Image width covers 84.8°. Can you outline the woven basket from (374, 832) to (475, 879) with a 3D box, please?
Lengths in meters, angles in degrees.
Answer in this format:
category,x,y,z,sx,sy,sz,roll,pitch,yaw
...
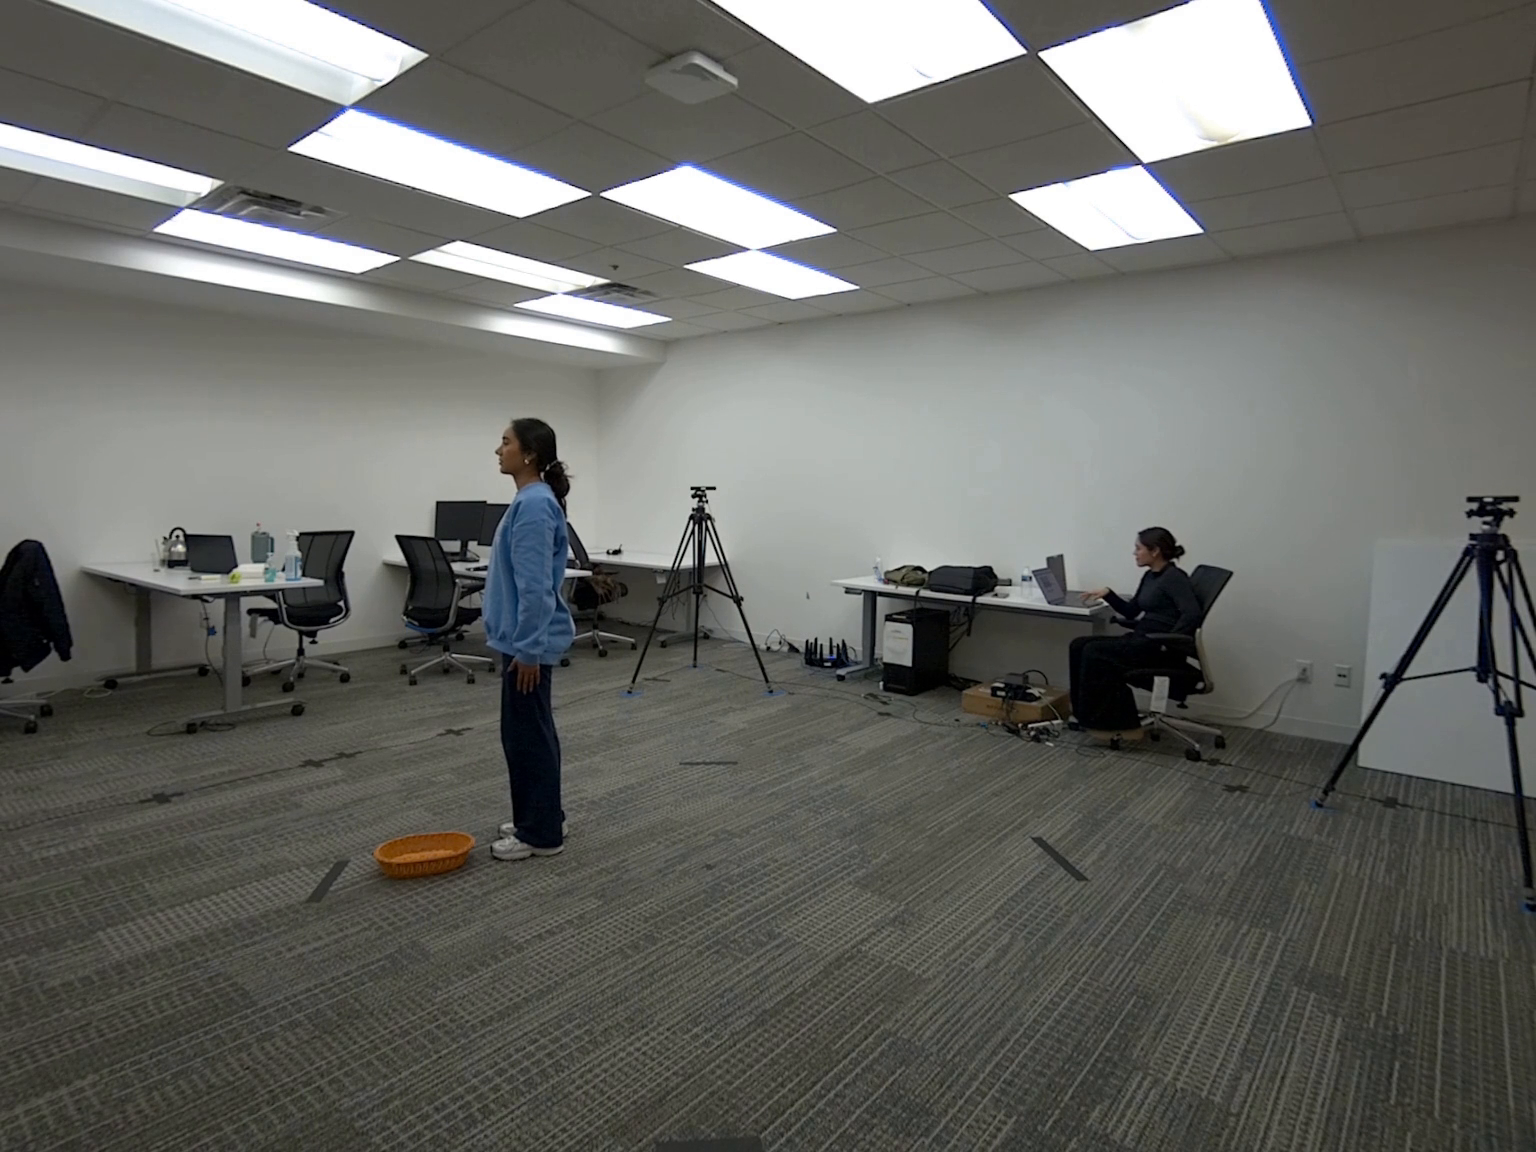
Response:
category,x,y,z,sx,sy,sz,roll,pitch,yaw
woven basket,-1.263,1.016,3.102,0.344,0.073,0.258,-2,5,-19
